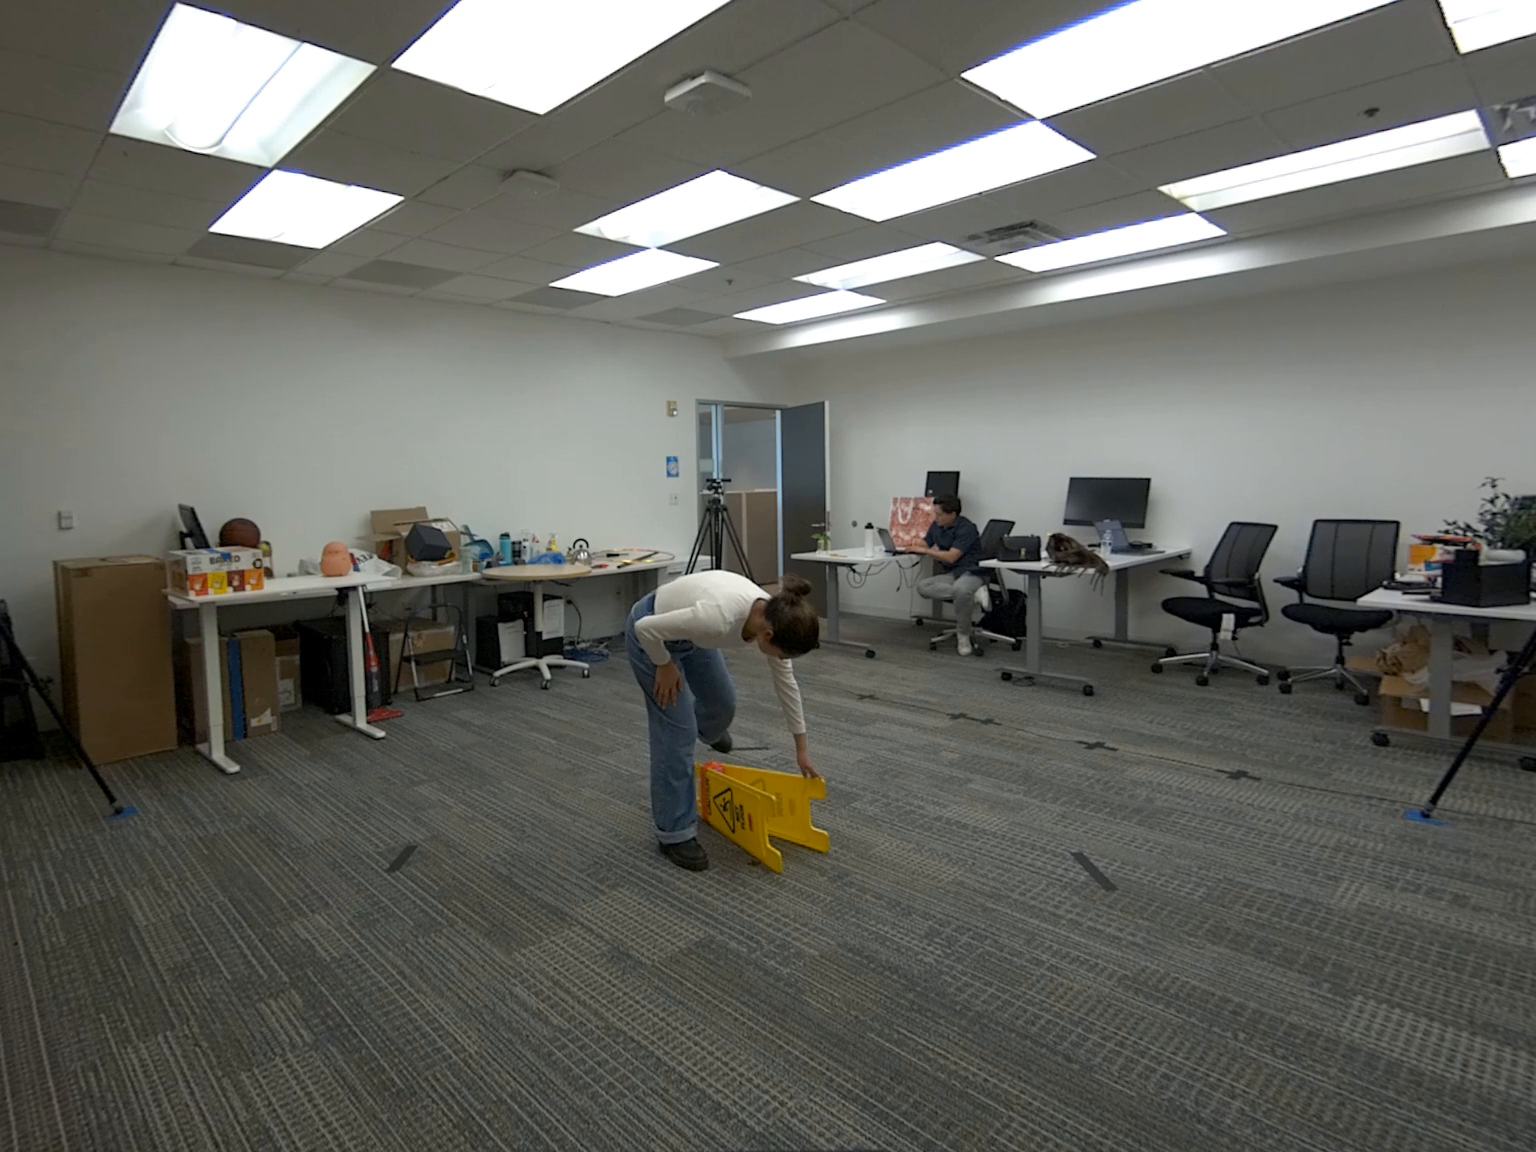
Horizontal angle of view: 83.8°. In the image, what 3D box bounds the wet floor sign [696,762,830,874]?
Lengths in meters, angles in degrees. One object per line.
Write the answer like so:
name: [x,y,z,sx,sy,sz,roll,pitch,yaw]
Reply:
wet floor sign: [-0.099,0.891,3.333,0.282,0.281,0.665,-5,6,-42]
